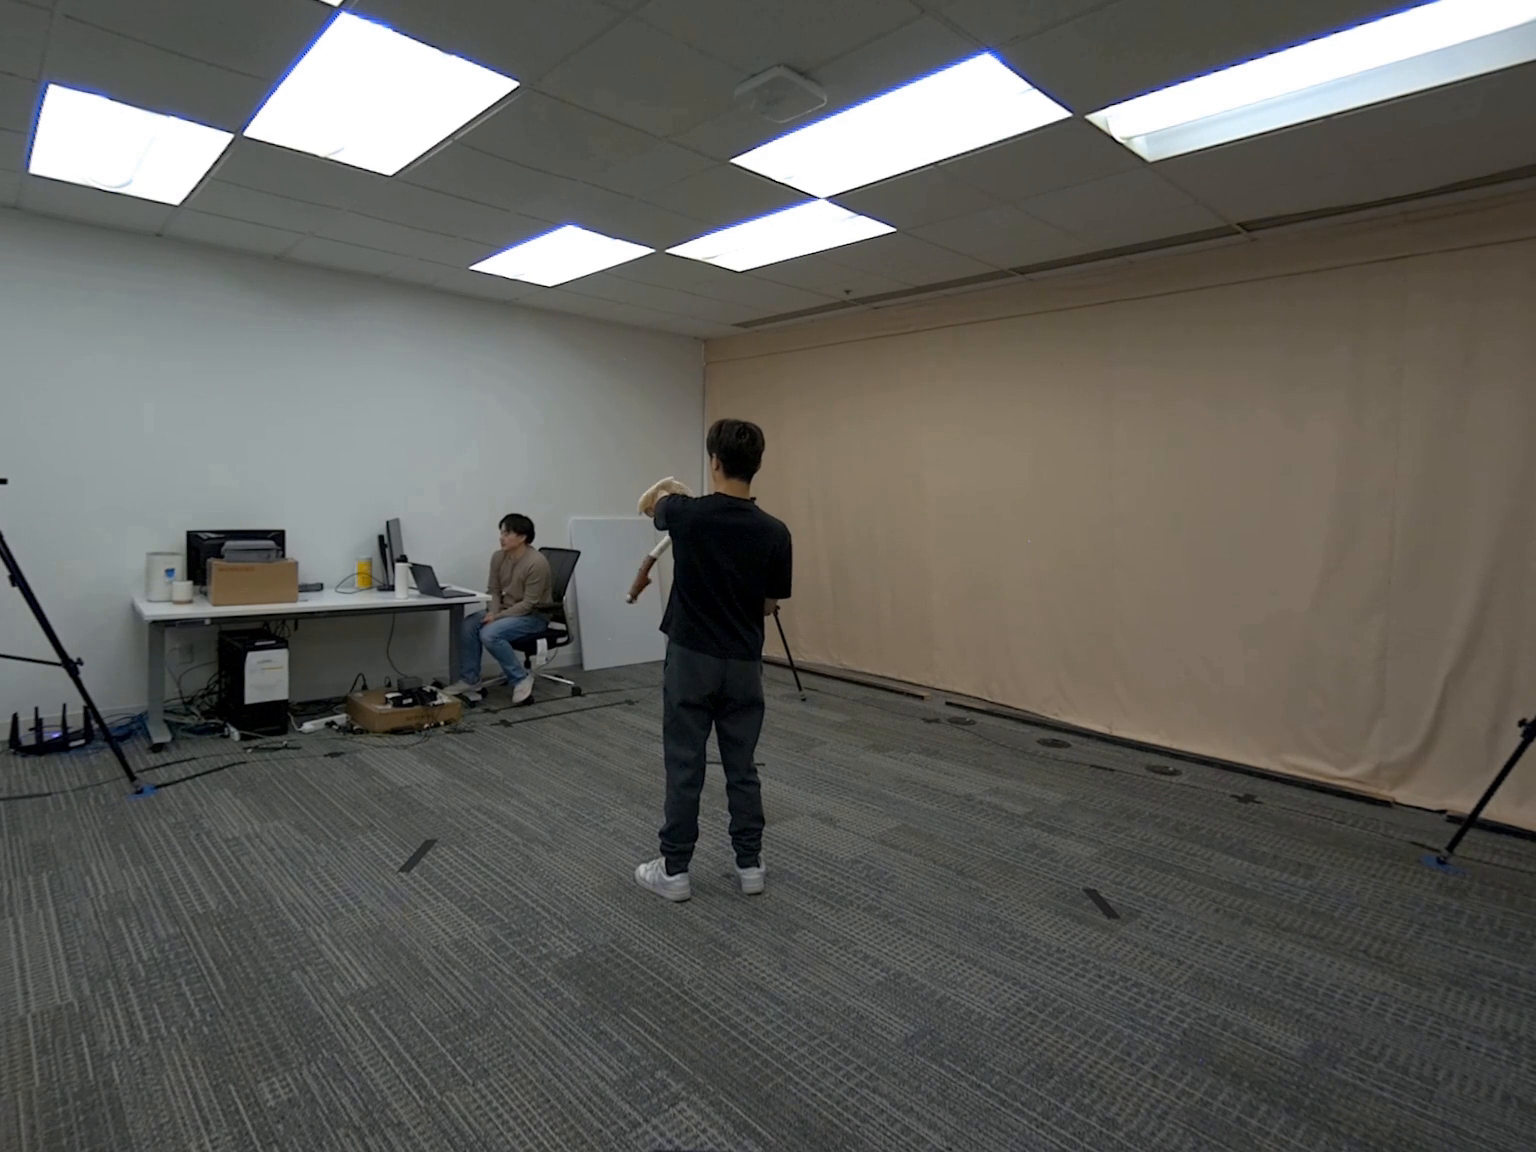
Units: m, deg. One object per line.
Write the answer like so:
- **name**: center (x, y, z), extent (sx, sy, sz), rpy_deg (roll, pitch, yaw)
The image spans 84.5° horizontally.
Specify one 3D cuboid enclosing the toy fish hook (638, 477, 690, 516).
- **toy fish hook**: center (-0.461, -0.144, 3.244), extent (0.220, 0.508, 0.049), rpy_deg (31, -11, -21)
